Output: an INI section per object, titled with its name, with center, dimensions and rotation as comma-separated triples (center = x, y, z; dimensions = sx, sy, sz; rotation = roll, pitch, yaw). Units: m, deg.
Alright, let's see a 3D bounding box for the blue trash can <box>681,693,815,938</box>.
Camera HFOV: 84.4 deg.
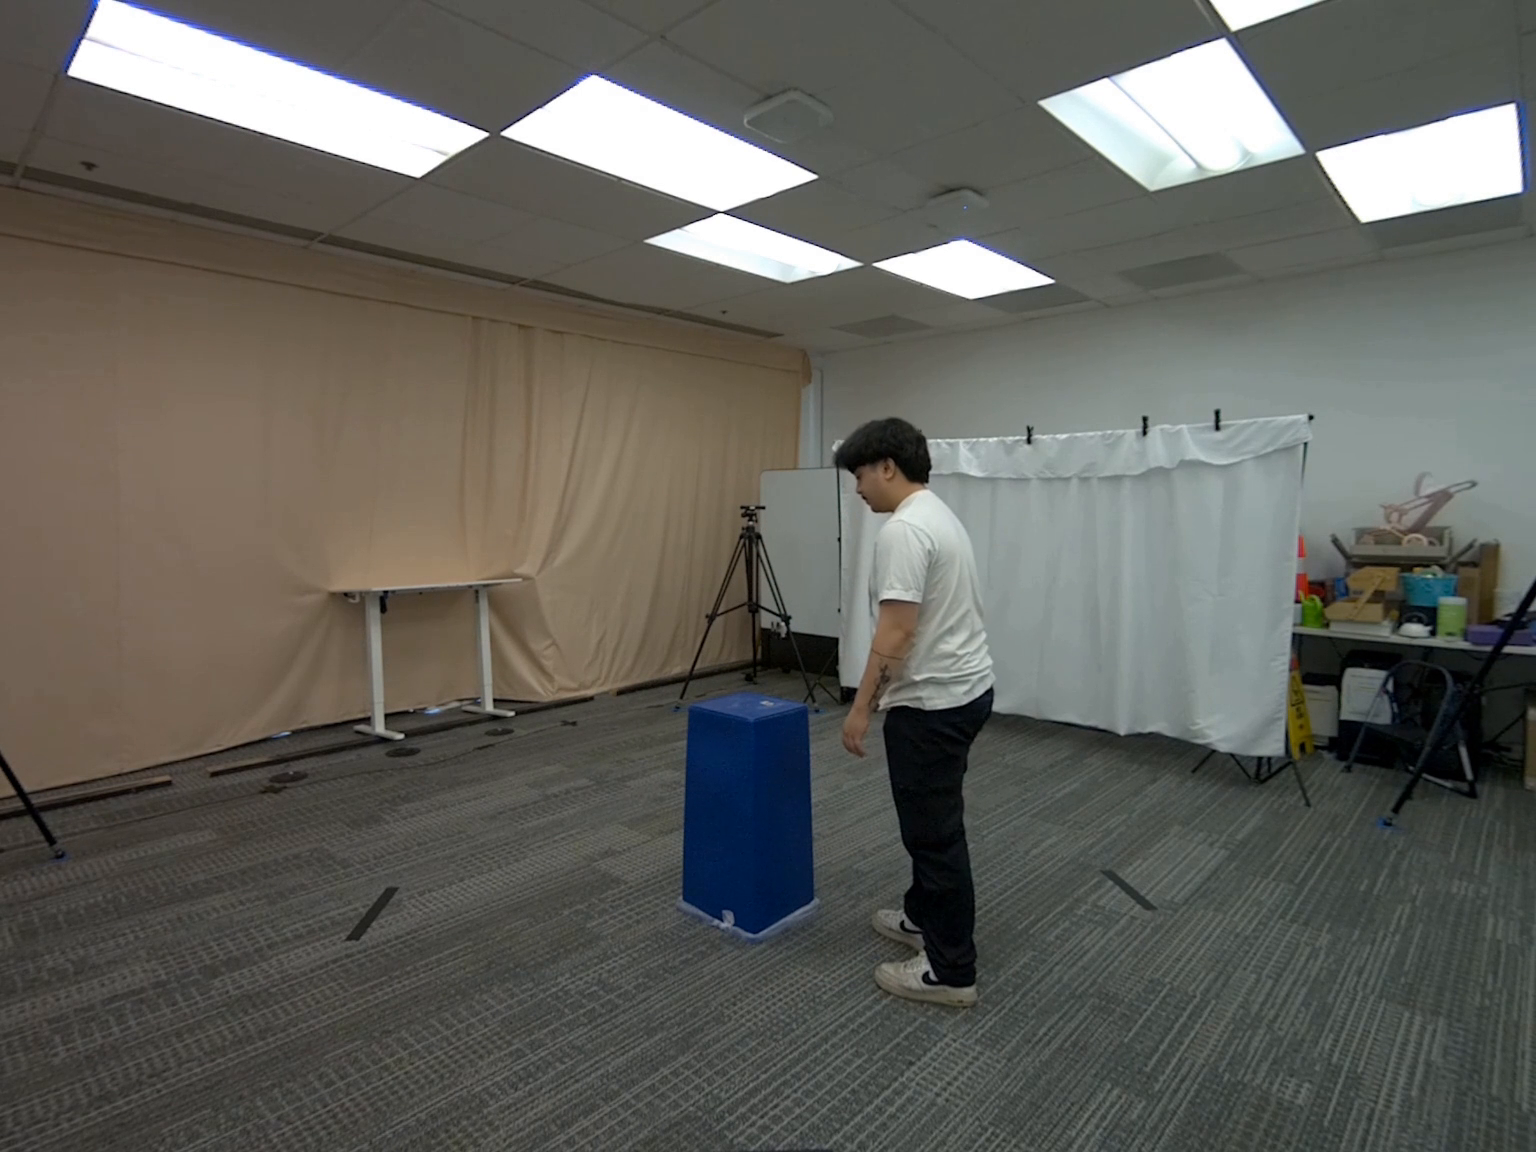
[blue trash can]
center = -0.059, 0.797, 2.912
dimensions = 0.391, 0.712, 0.362
rotation = 3, 4, 42
